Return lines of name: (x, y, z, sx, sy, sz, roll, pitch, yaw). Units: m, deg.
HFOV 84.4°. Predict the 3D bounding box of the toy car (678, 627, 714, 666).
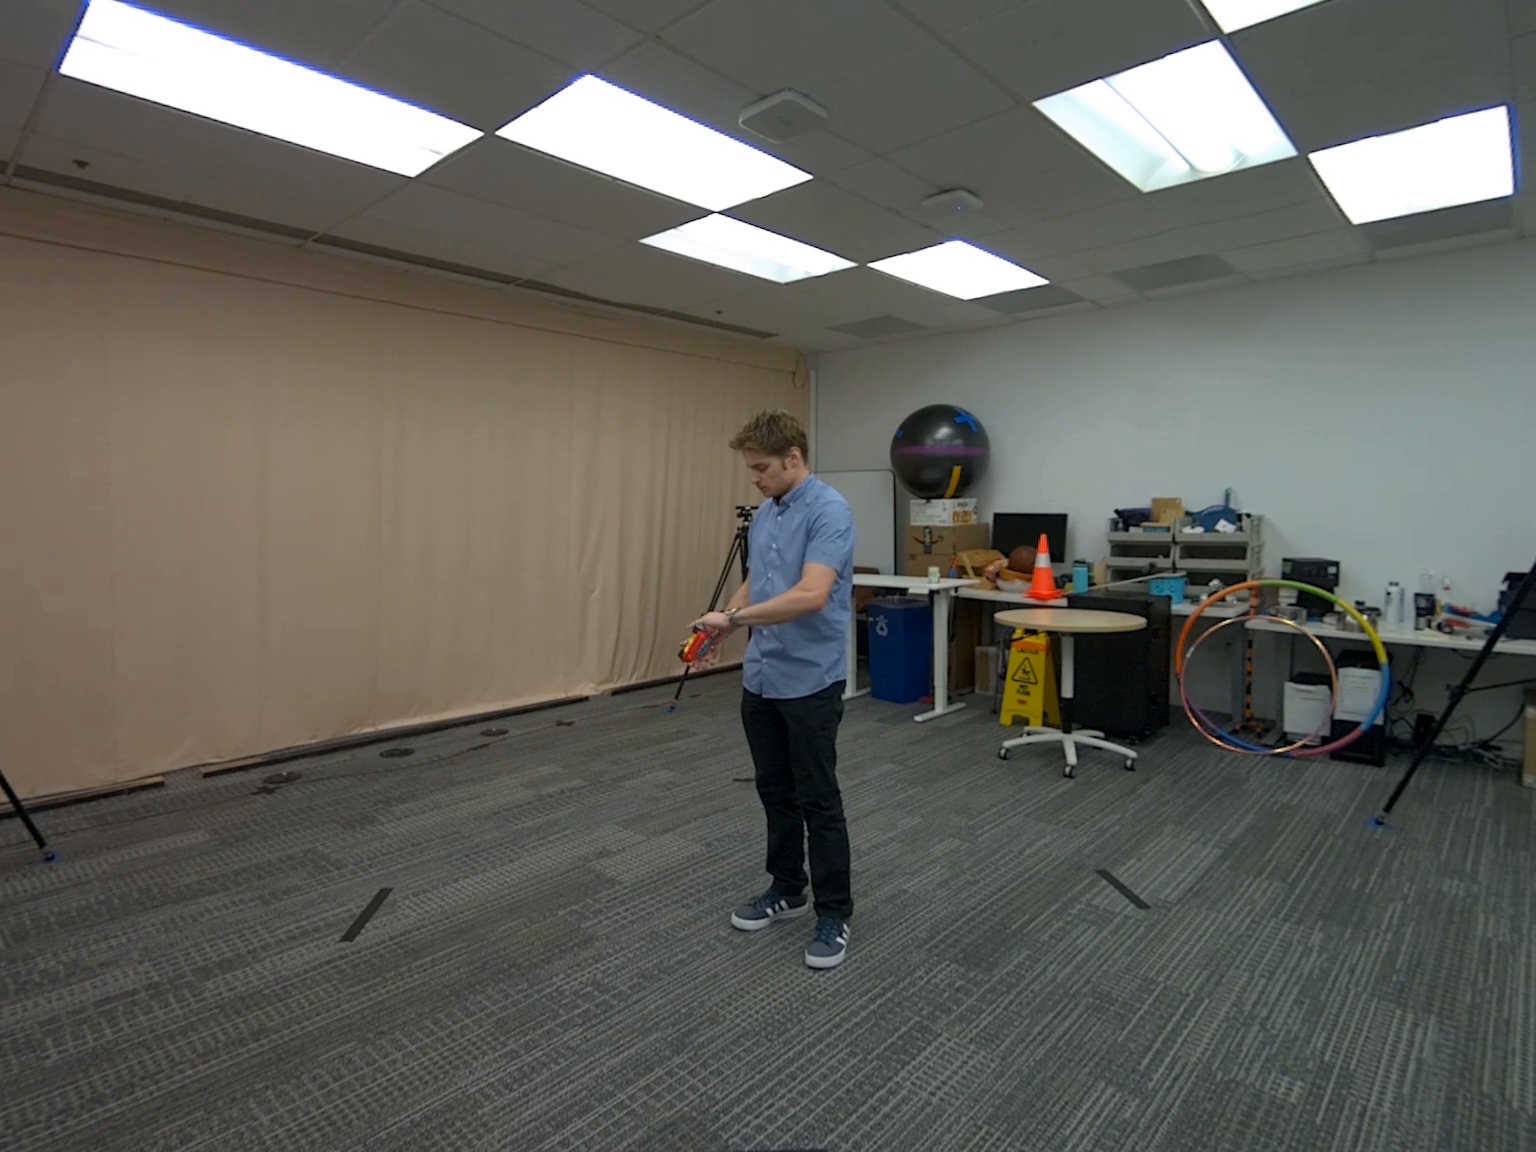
toy car: (-0.209, 0.205, 2.642, 0.084, 0.130, 0.250, 35, 5, 11)
